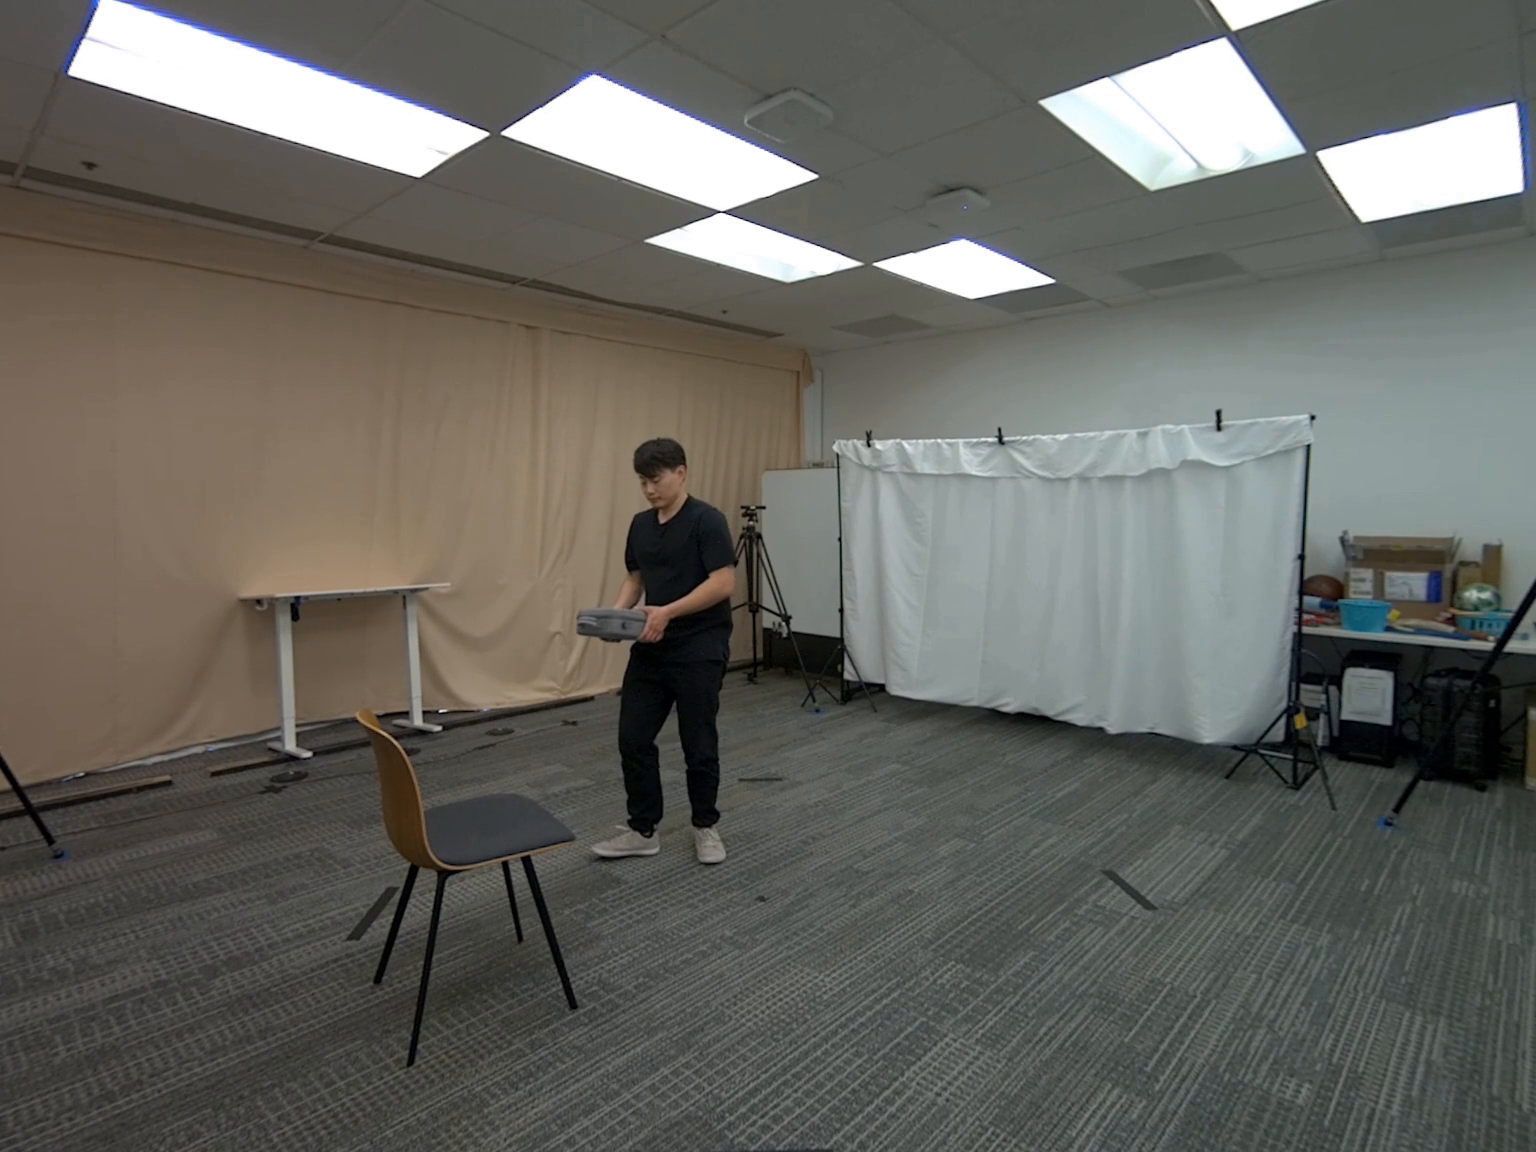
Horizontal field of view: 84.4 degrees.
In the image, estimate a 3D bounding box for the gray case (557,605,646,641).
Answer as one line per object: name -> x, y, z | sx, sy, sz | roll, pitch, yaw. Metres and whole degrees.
gray case -> -0.607, 0.175, 3.160 | 0.252, 0.104, 0.265 | 7, -4, -37
